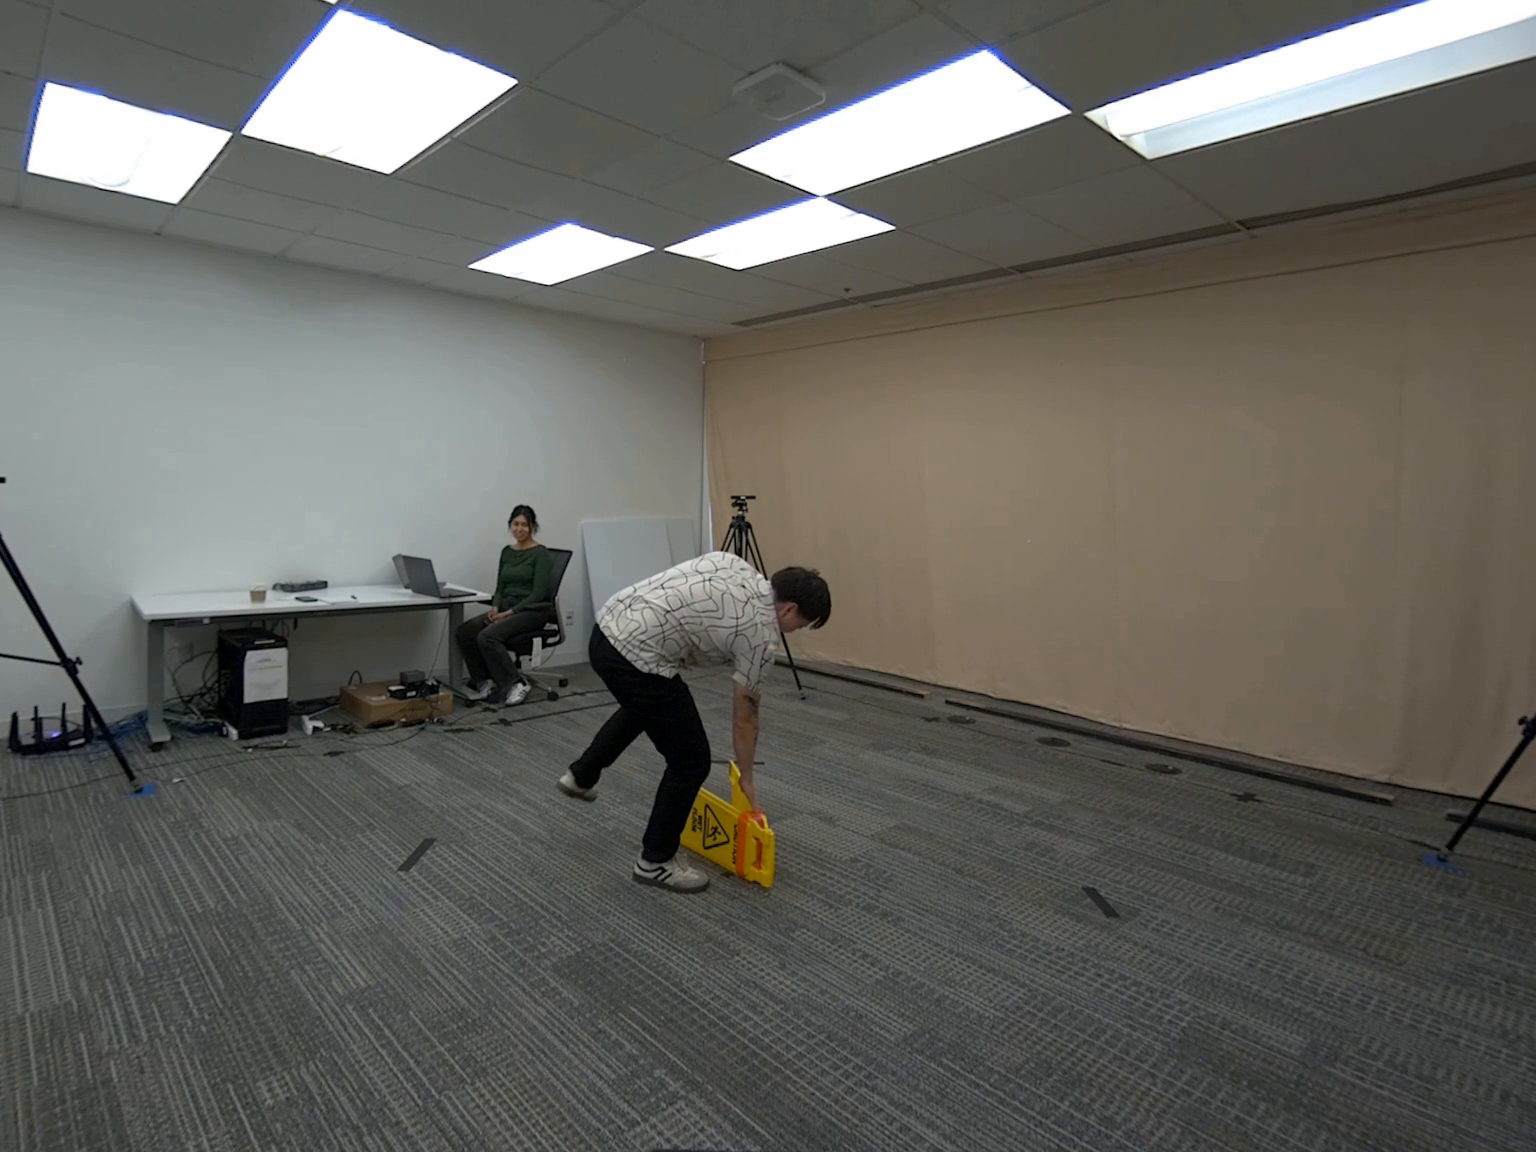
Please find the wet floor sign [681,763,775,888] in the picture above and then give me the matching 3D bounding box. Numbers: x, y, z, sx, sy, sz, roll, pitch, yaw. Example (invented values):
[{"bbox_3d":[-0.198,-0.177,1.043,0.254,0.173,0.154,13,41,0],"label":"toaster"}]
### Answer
[{"bbox_3d":[-0.148,0.959,3.237,0.284,0.281,0.661,-1,7,-28],"label":"wet floor sign"}]
